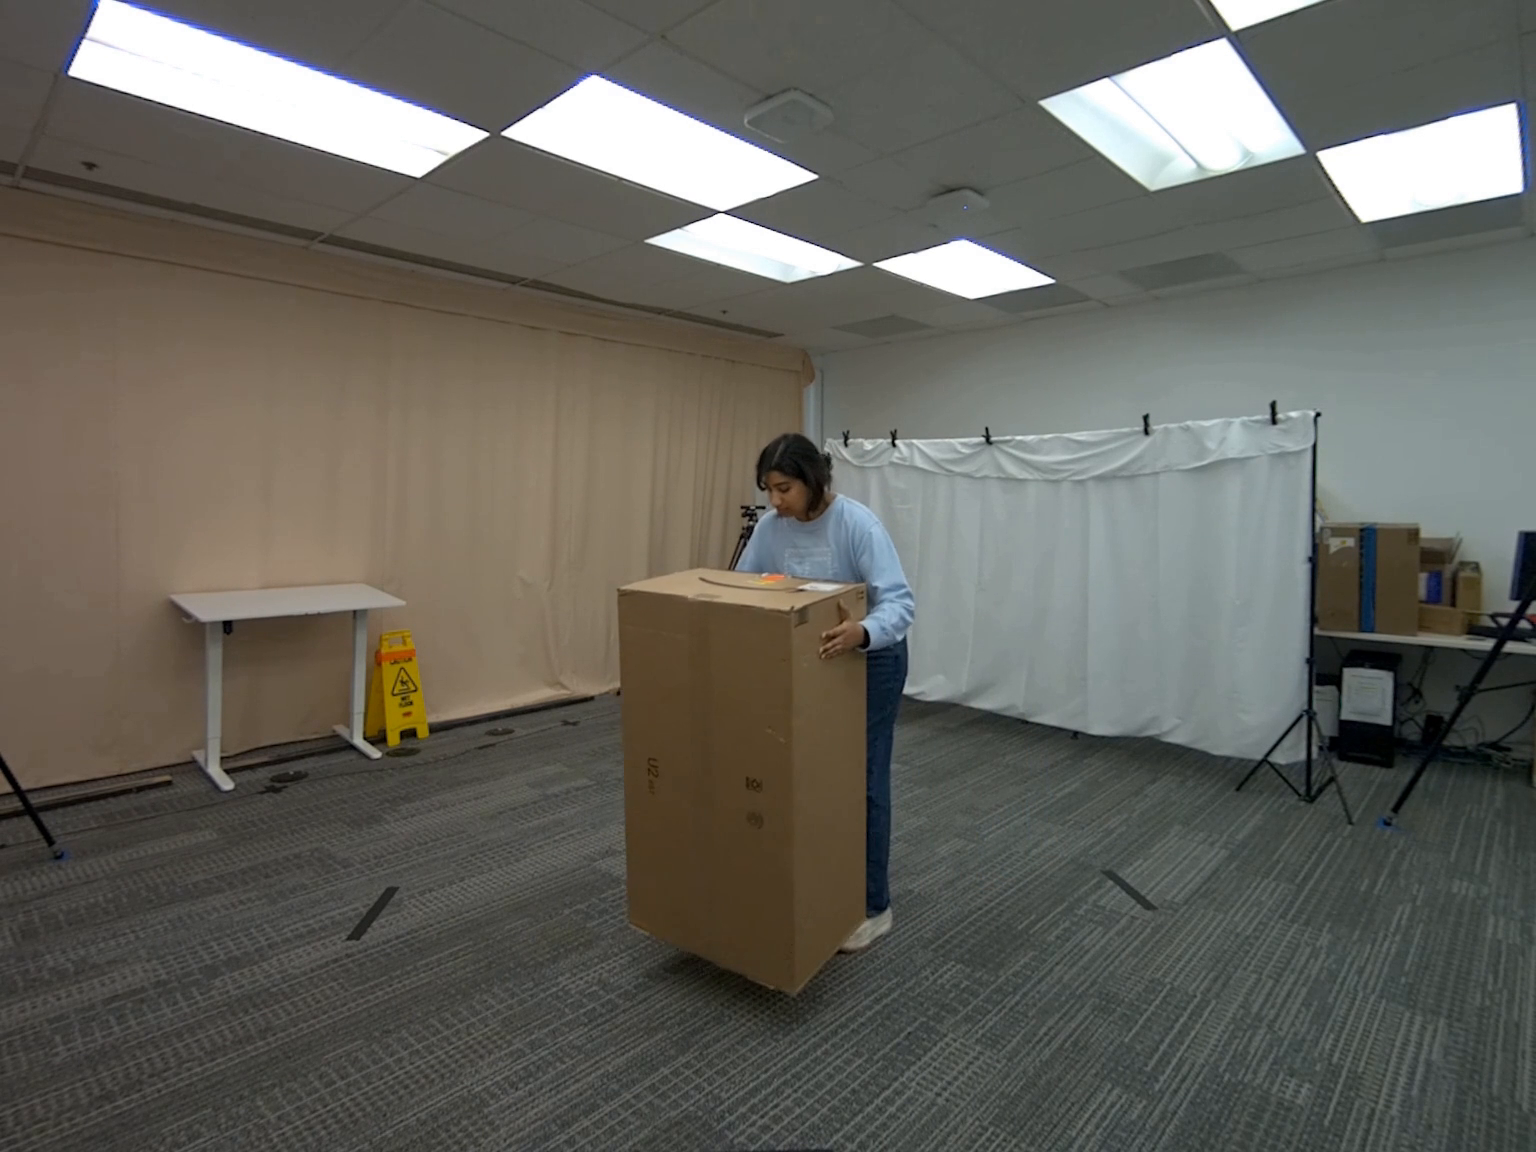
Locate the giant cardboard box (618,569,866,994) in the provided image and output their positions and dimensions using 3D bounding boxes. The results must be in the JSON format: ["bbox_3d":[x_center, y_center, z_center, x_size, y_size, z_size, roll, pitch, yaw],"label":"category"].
[{"bbox_3d":[-0.065,0.537,2.436,0.603,1.022,0.435,5,9,35],"label":"giant cardboard box"}]
